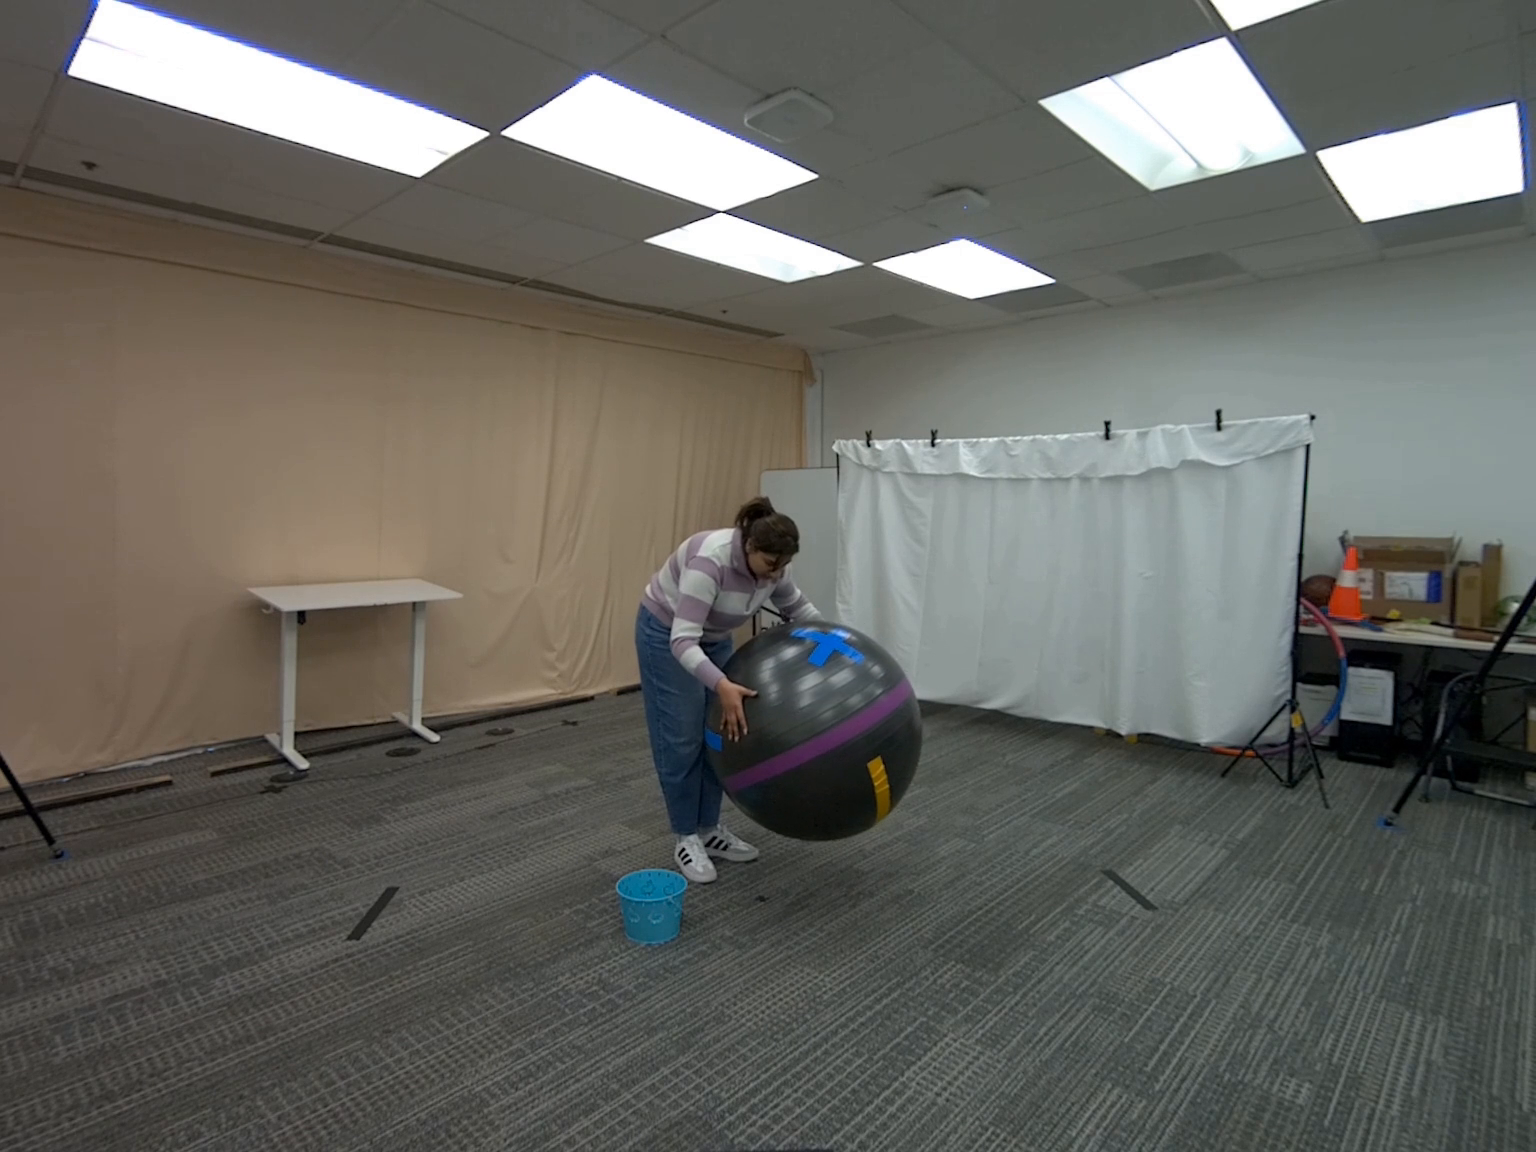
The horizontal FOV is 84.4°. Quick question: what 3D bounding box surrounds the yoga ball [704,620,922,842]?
[{"bbox_3d":[0.157,0.546,2.965,0.757,0.756,0.760,0,4,-2],"label":"yoga ball"}]
